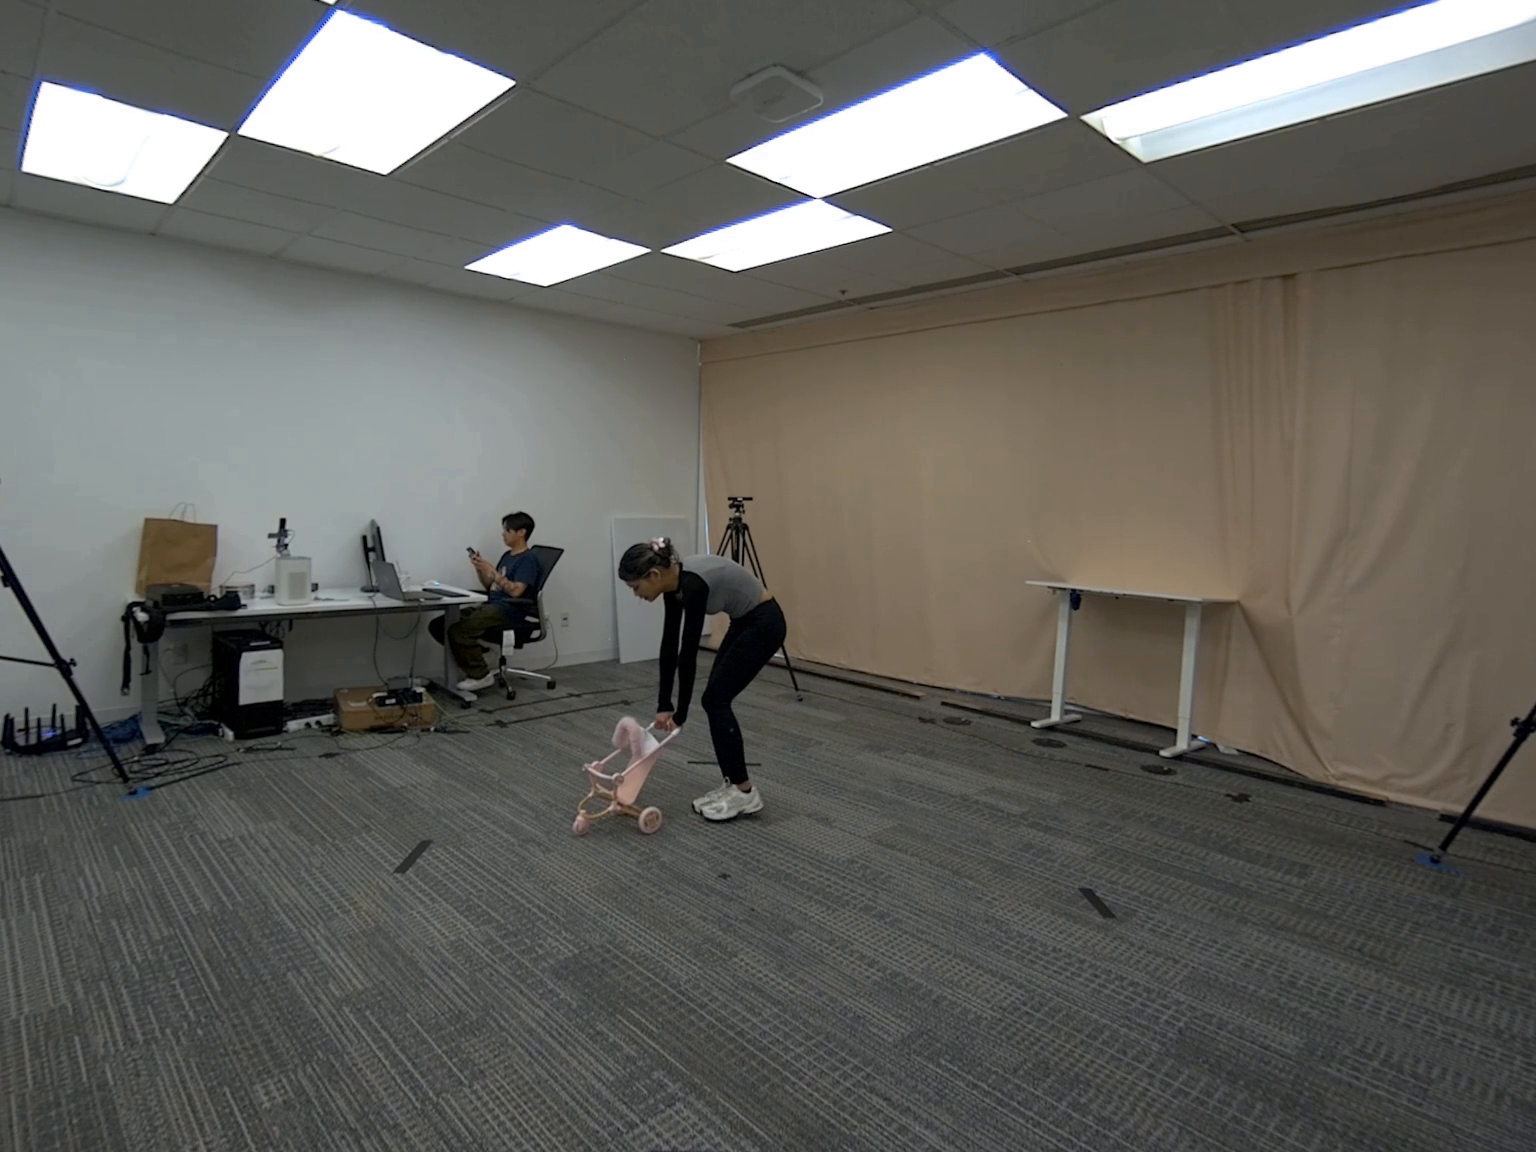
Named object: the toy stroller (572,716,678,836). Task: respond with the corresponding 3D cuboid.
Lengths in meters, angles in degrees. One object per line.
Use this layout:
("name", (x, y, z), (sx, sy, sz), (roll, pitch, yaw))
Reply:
("toy stroller", (-0.617, 0.834, 3.547), (0.332, 0.536, 0.288), (19, -7, -31))
